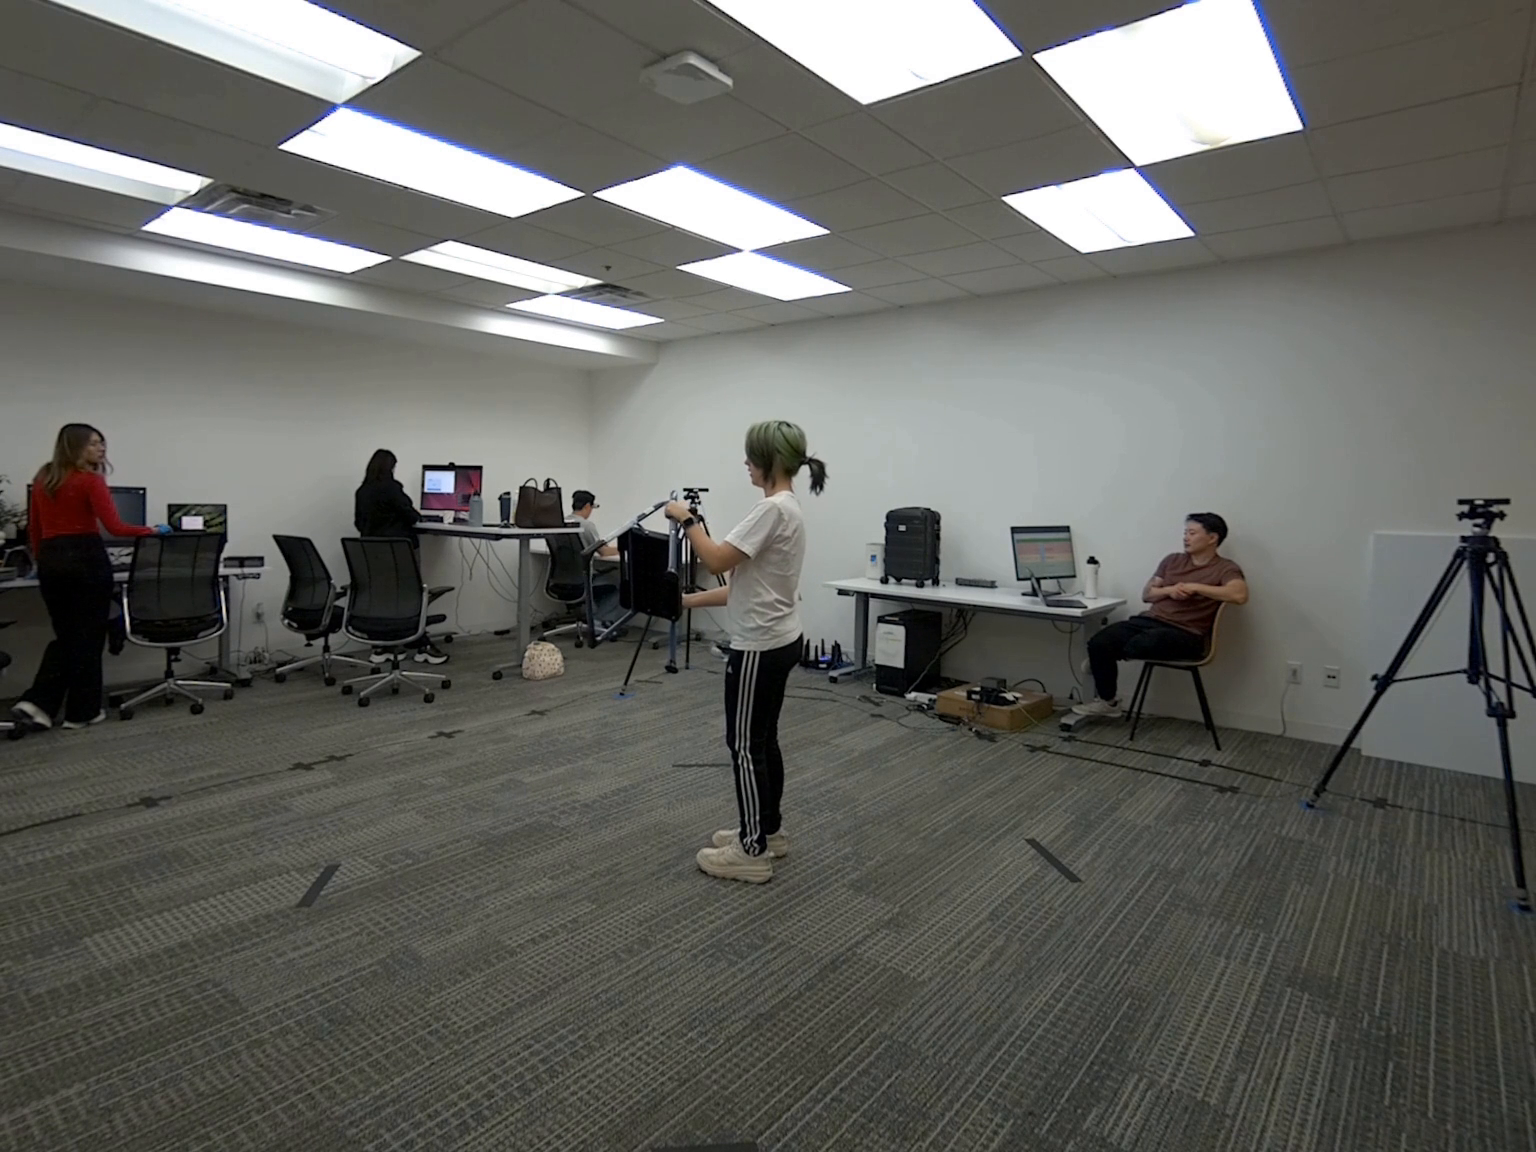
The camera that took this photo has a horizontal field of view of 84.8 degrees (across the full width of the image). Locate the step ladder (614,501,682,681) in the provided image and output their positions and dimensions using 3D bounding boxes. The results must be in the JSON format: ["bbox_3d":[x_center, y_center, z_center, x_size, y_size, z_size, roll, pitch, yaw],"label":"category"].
[{"bbox_3d":[-0.405,-0.037,3.124,0.355,0.420,0.611,12,35,12],"label":"step ladder"}]
